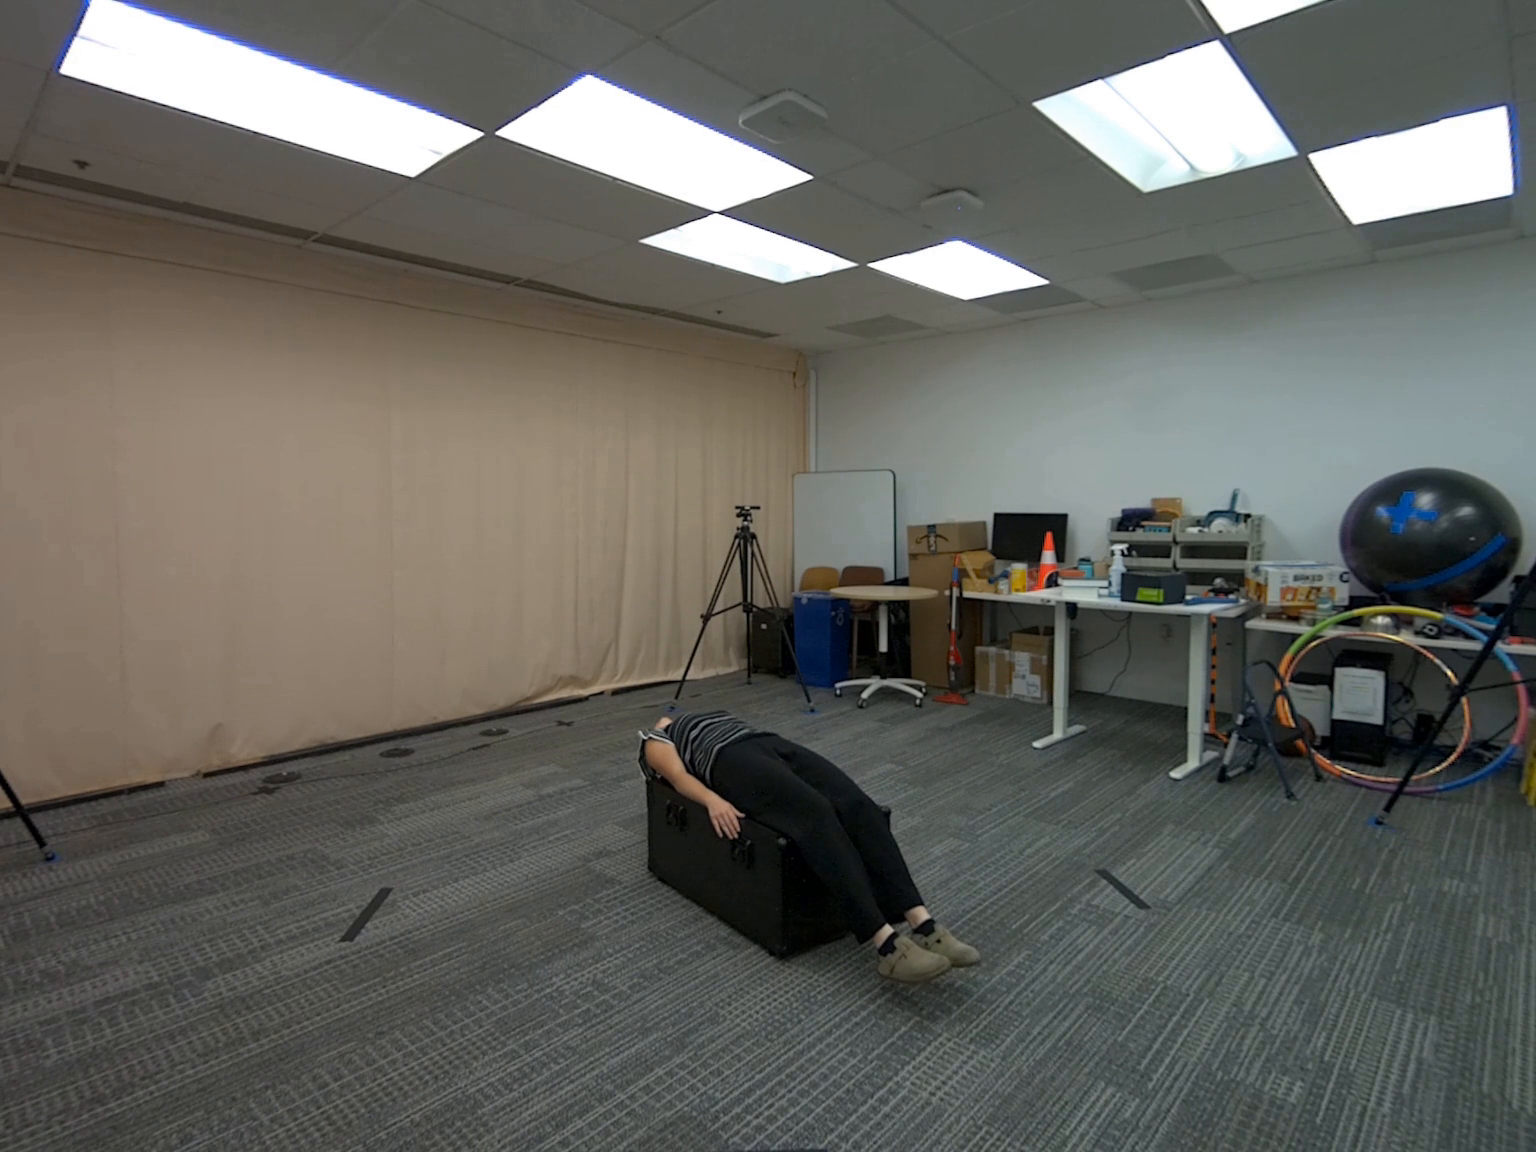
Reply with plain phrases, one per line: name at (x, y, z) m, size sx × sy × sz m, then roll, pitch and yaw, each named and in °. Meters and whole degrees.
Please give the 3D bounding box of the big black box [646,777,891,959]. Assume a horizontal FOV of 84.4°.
big black box at (-0.043, 0.957, 3.027) m, size 0.506 × 0.395 × 0.890 m, roll -6°, pitch 7°, yaw -38°
